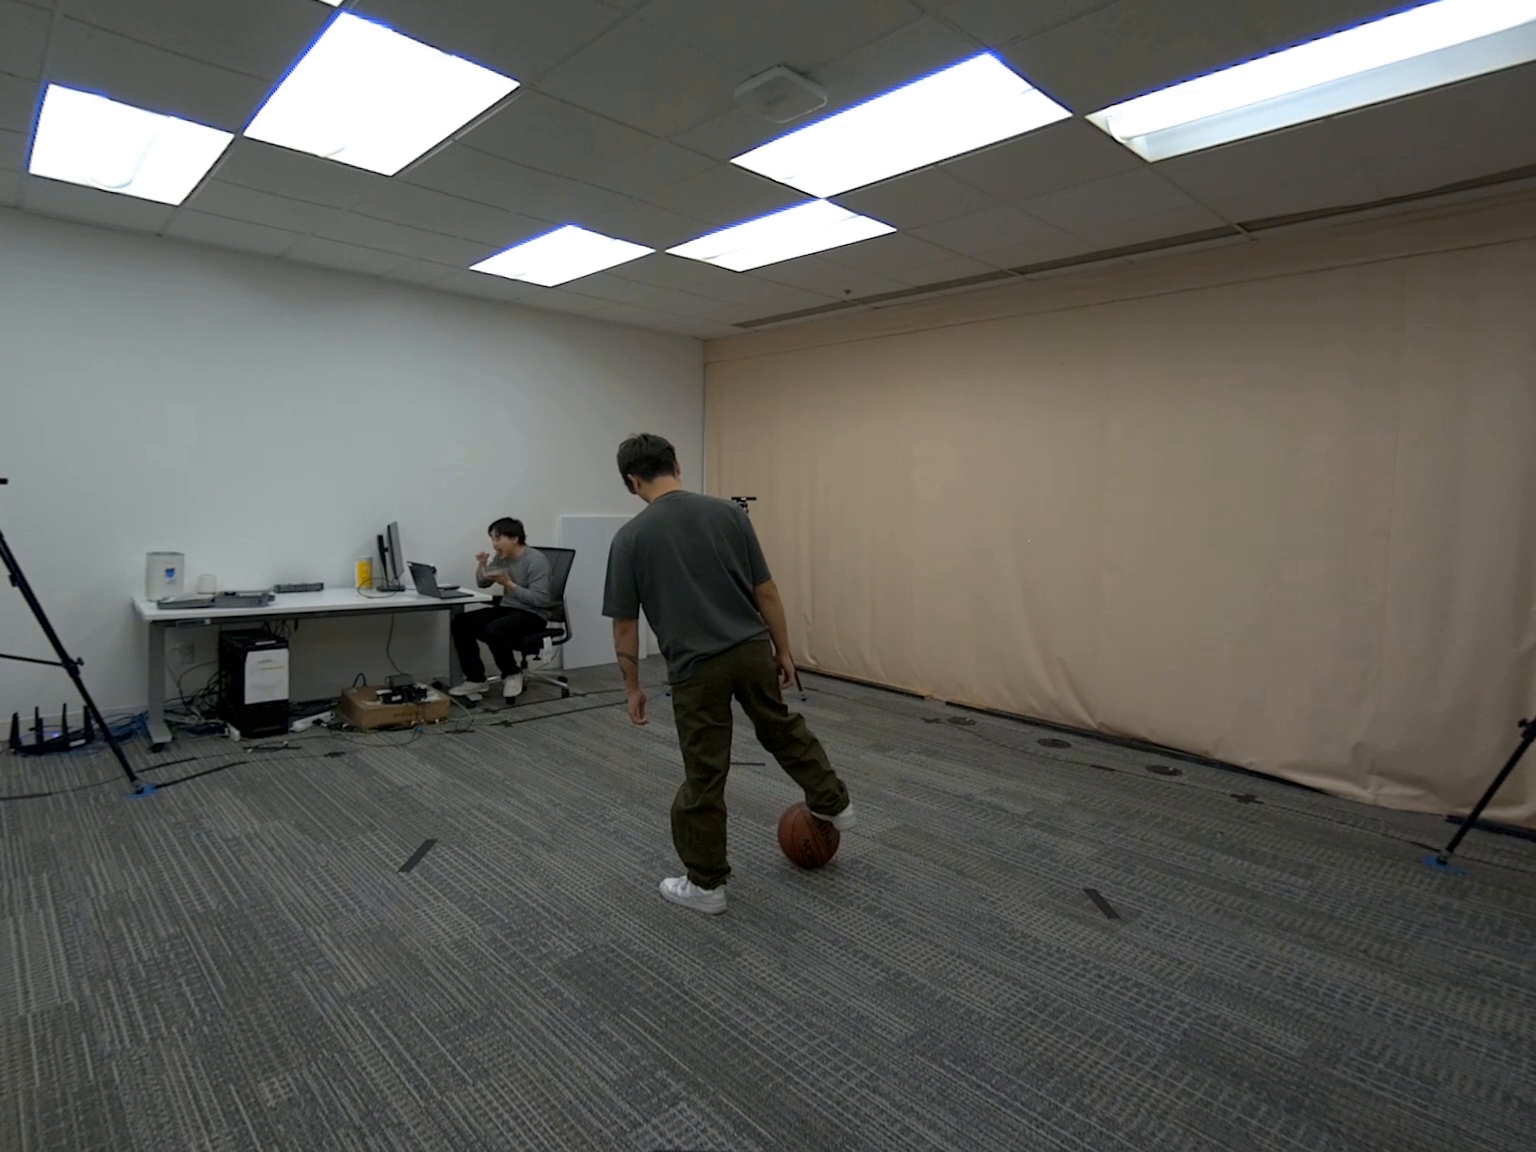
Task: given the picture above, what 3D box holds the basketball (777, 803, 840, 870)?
[{"bbox_3d":[0.146,0.985,3.214,0.236,0.235,0.237,1,4,-1],"label":"basketball"}]
